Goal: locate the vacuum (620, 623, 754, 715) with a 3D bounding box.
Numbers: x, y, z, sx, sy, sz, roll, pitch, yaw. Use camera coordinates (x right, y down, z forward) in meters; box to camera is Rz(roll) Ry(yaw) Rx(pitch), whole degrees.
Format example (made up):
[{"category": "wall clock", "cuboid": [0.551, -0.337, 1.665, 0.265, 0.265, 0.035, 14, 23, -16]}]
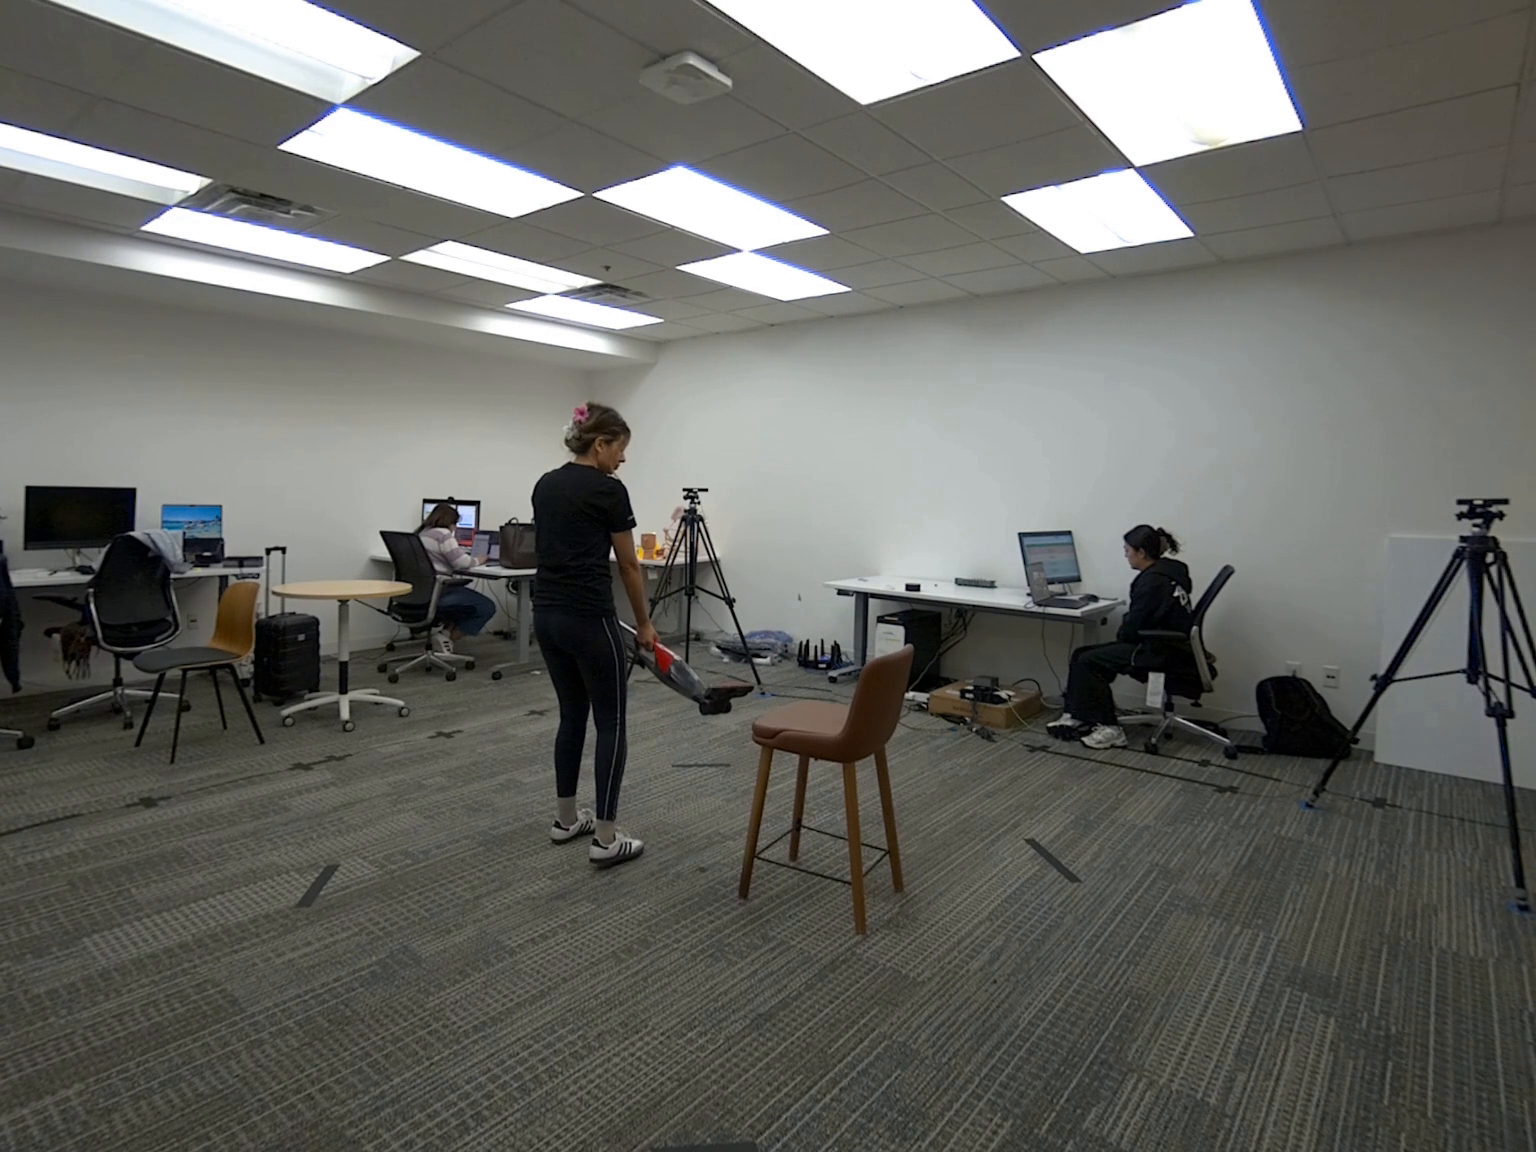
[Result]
[{"category": "vacuum", "cuboid": [-0.547, 0.293, 3.478, 1.093, 0.143, 0.243, 25, 11, 40]}]
